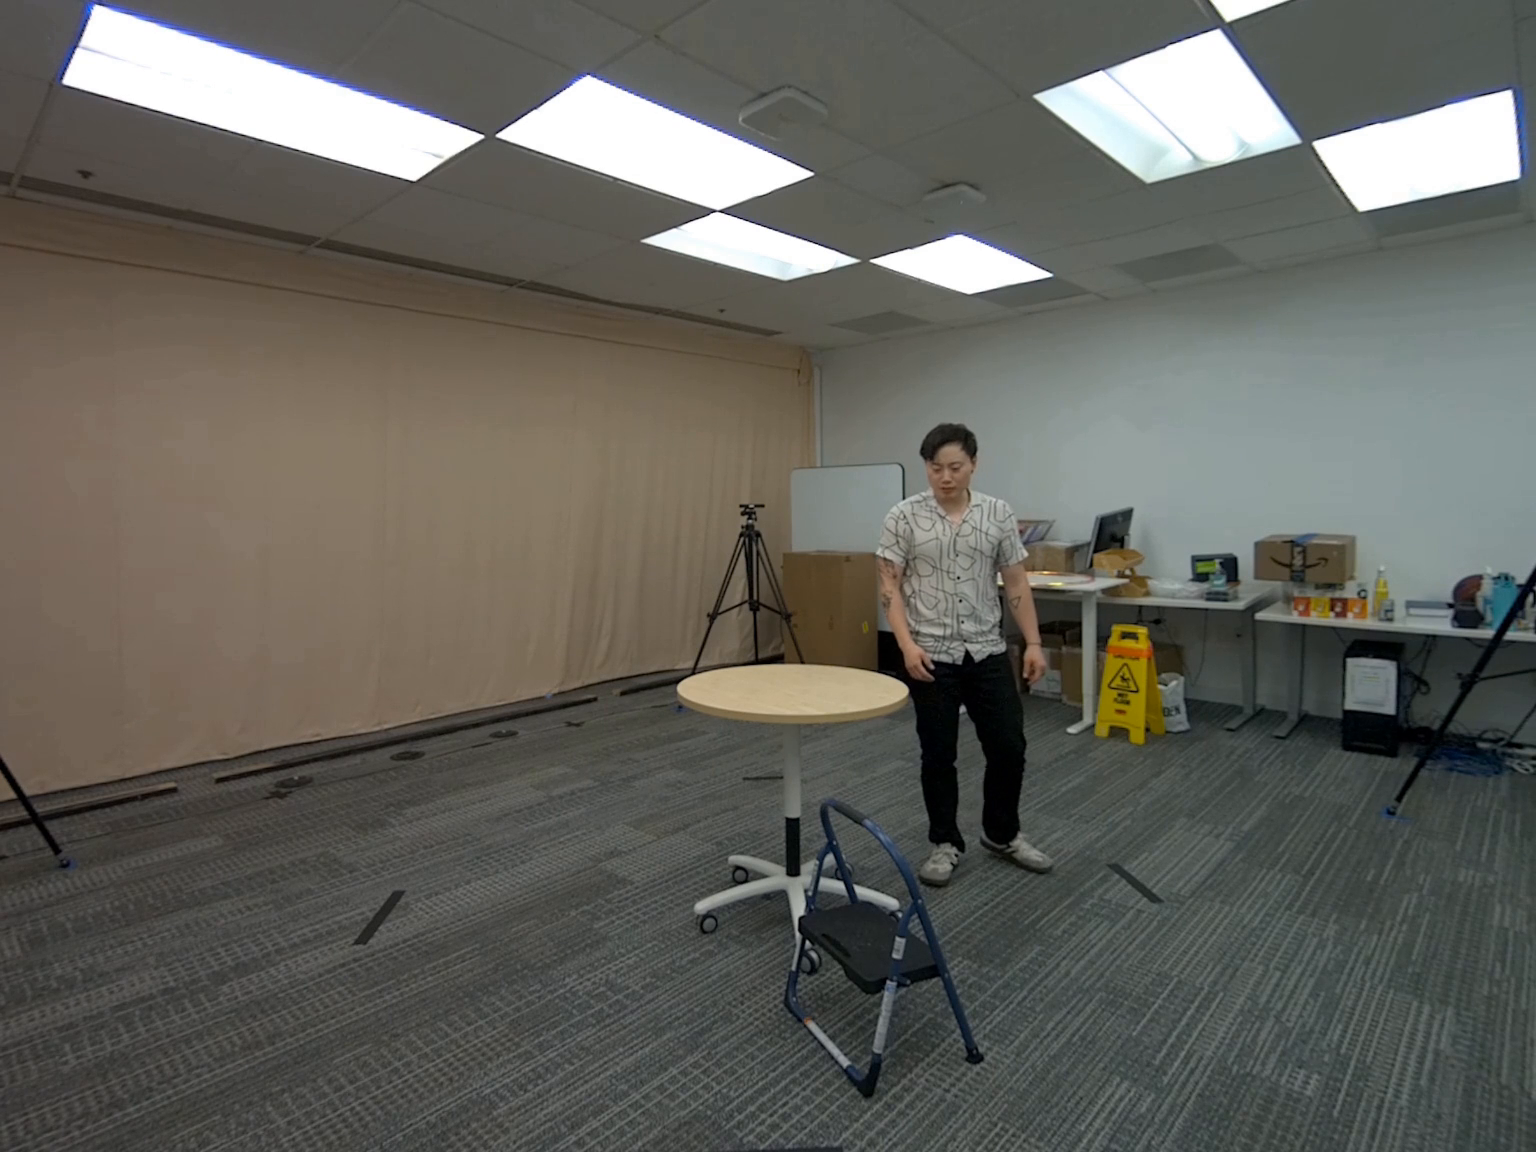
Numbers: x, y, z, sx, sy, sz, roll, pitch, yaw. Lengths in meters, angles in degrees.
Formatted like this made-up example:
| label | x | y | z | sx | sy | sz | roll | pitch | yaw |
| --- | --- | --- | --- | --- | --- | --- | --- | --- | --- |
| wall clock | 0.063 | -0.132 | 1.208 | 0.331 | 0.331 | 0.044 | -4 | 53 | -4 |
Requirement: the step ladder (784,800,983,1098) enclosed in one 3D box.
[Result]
| label | x | y | z | sx | sy | sz | roll | pitch | yaw |
| --- | --- | --- | --- | --- | --- | --- | --- | --- | --- |
| step ladder | 0.289 | 0.902 | 2.203 | 0.341 | 0.604 | 0.442 | -3 | 5 | -27 |
